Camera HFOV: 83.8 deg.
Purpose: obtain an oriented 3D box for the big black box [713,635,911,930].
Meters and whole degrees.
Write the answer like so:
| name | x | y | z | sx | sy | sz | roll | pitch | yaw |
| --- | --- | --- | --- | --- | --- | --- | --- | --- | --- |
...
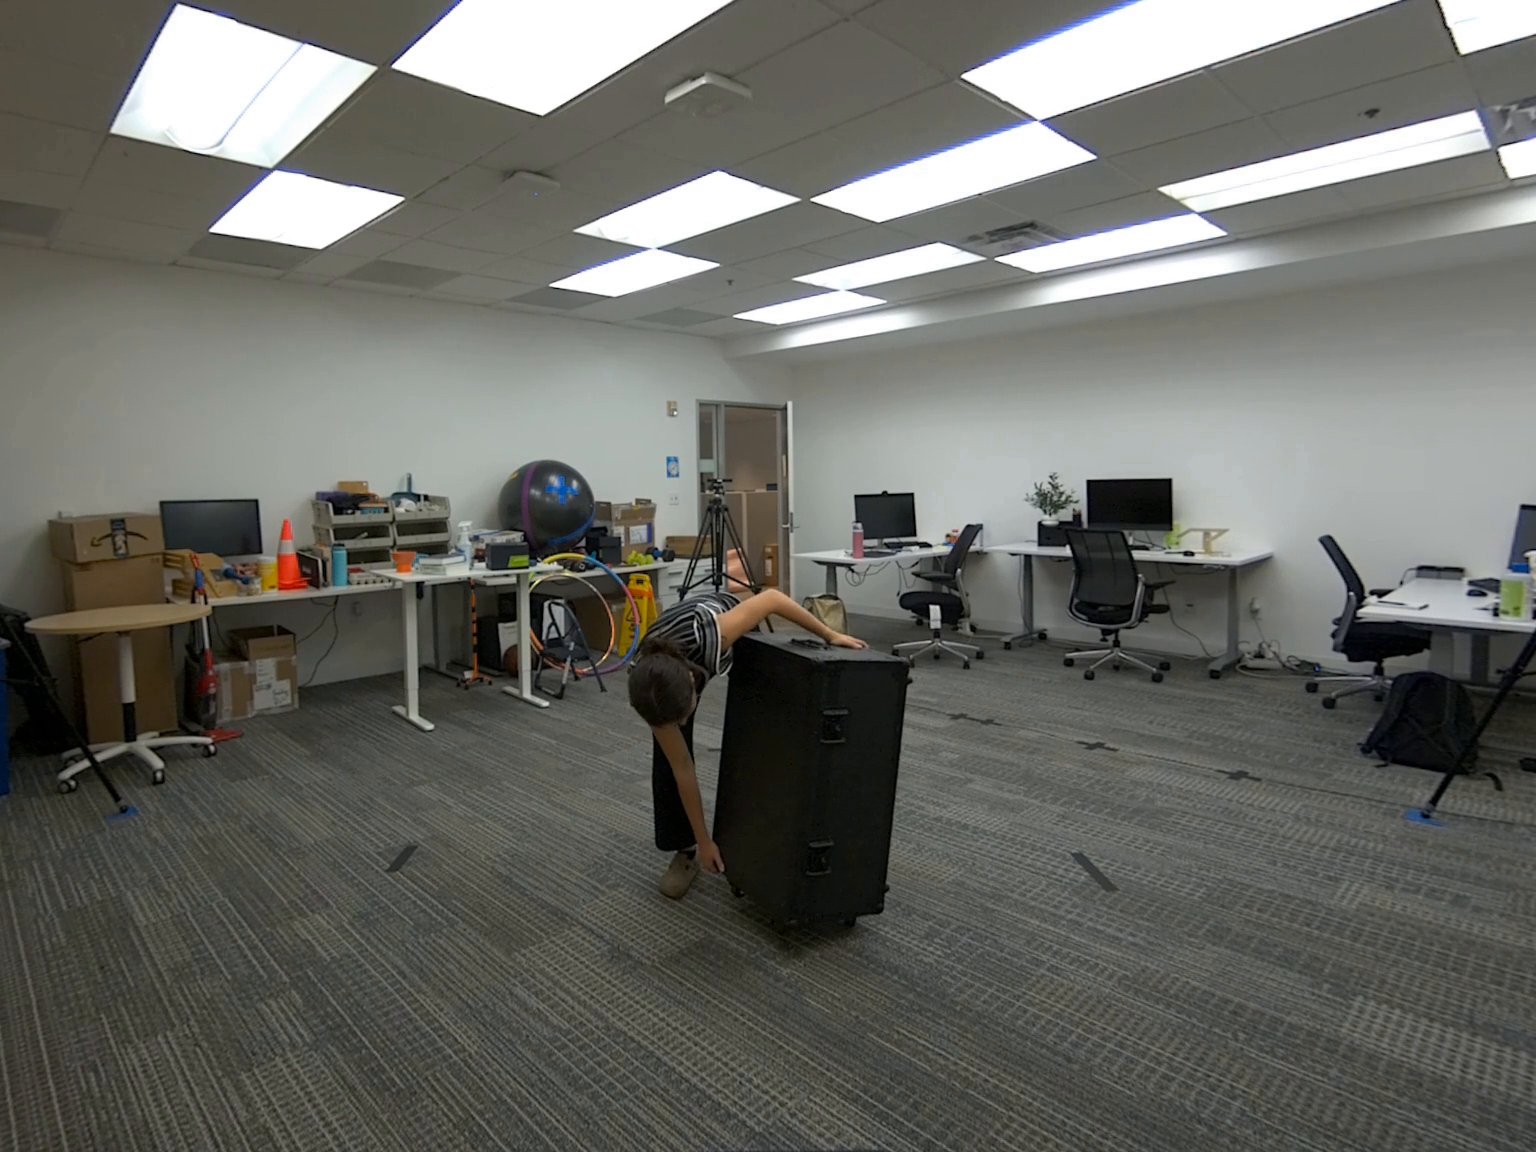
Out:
| name | x | y | z | sx | sy | sz | roll | pitch | yaw |
| --- | --- | --- | --- | --- | --- | --- | --- | --- | --- |
| big black box | 0.129 | 0.641 | 2.736 | 0.385 | 0.861 | 0.536 | 6 | 2 | -31 |
